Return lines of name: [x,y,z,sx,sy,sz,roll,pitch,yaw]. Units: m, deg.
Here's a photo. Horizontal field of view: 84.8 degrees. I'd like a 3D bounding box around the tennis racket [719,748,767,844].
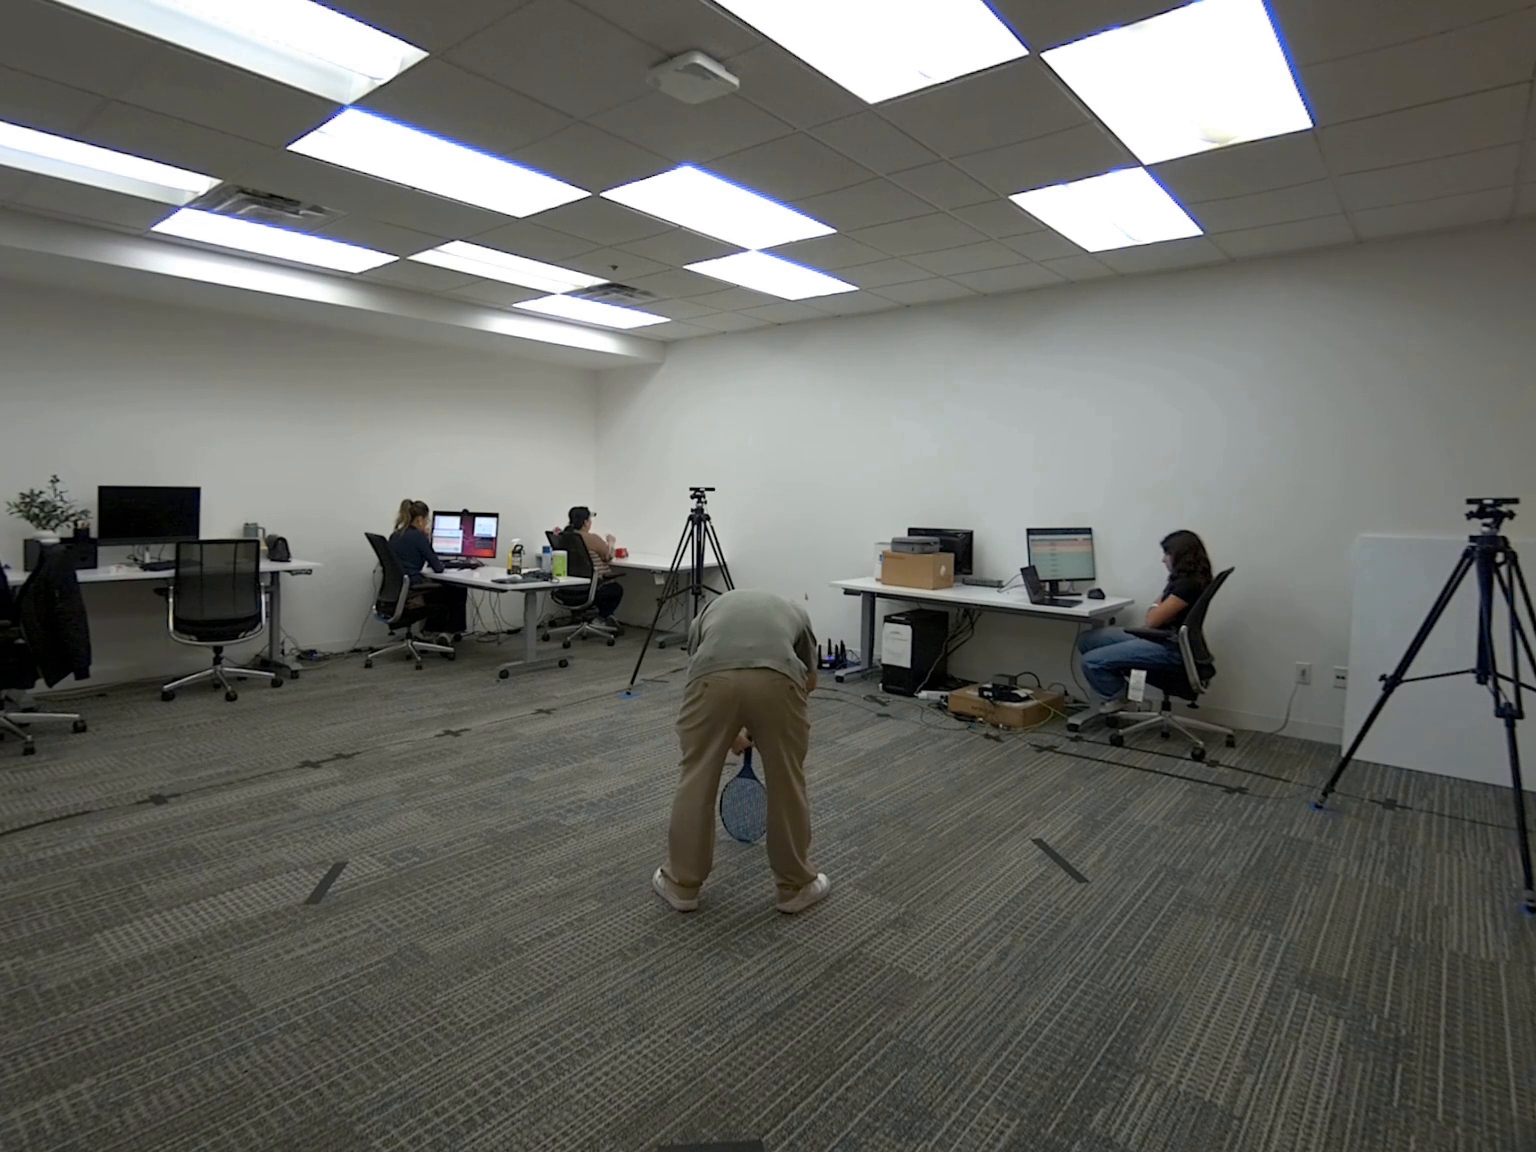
tennis racket: [-0.088,0.831,3.335,0.218,0.431,0.031,8,6,19]
